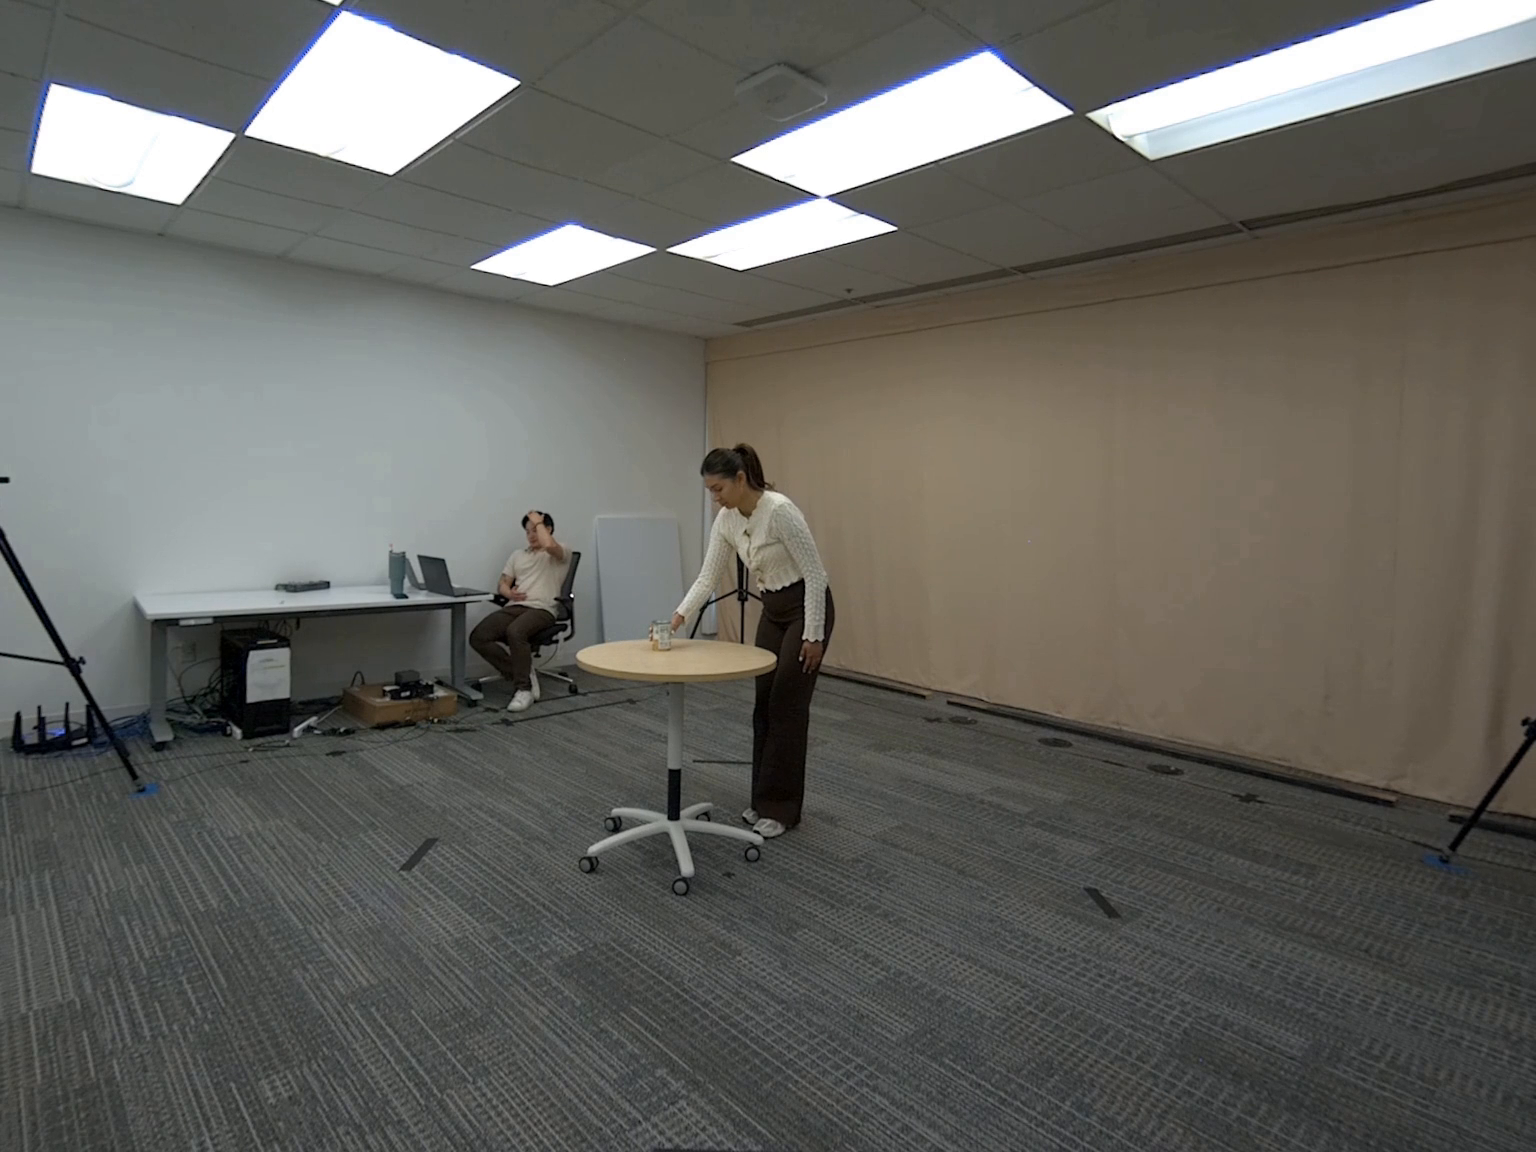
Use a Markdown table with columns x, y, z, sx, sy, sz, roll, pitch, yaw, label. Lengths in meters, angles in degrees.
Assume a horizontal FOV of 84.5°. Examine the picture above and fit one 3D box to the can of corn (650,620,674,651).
| x | y | z | sx | sy | sz | roll | pitch | yaw | label |
| --- | --- | --- | --- | --- | --- | --- | --- | --- | --- |
| -0.441 | 0.241 | 3.334 | 0.074 | 0.111 | 0.074 | -1 | 0 | -1 | can of corn |
